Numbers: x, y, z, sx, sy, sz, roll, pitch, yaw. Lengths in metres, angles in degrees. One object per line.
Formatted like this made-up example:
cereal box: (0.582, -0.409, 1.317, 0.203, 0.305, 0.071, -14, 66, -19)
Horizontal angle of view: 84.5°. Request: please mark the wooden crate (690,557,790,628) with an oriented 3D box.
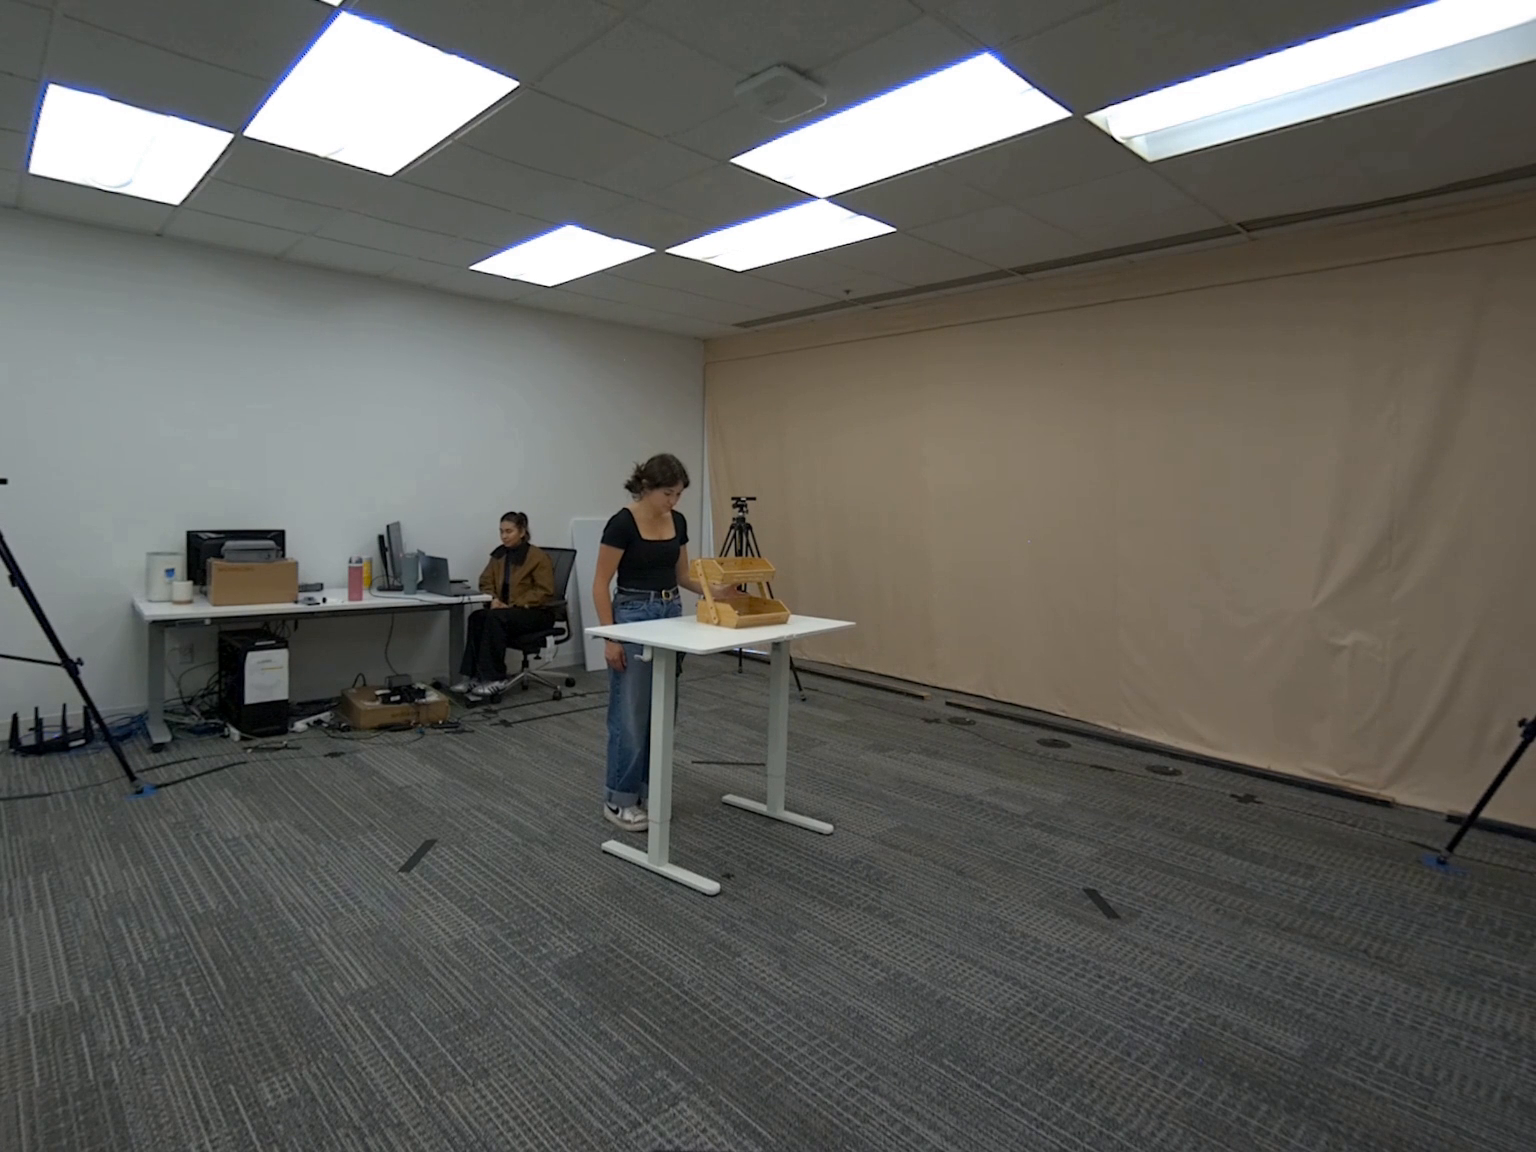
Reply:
wooden crate: (-0.121, 0.060, 3.492, 0.317, 0.273, 0.309, -1, 4, -44)
